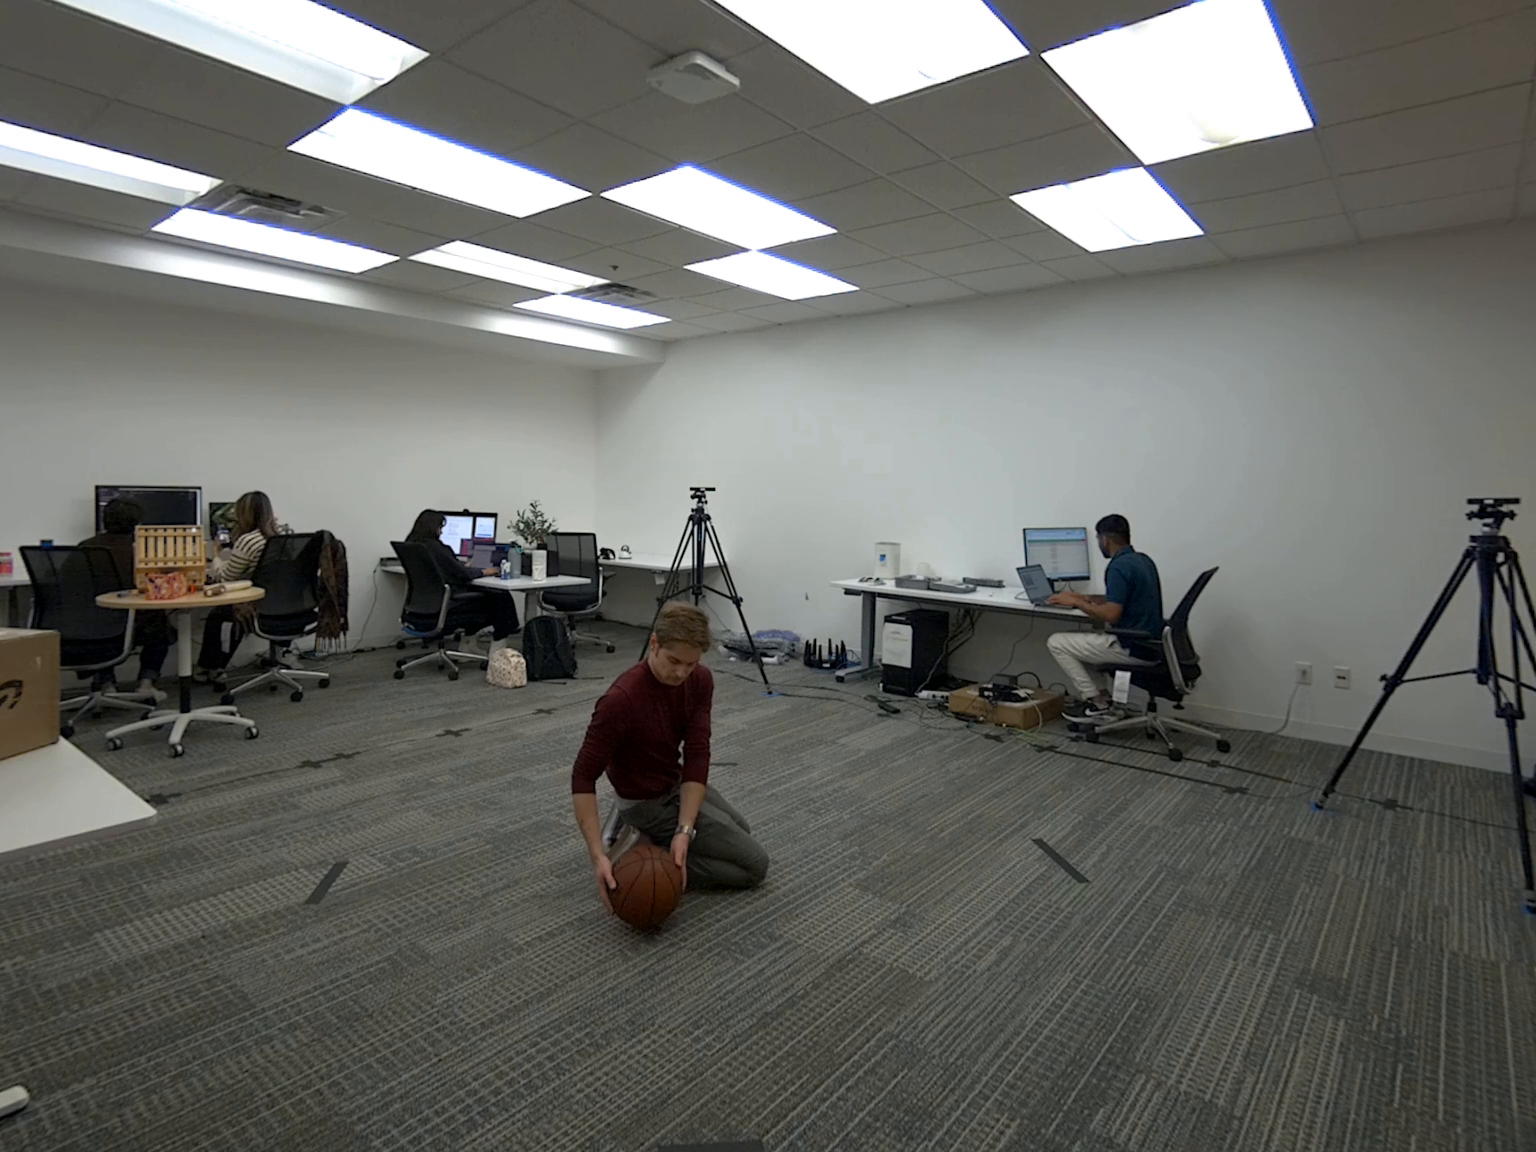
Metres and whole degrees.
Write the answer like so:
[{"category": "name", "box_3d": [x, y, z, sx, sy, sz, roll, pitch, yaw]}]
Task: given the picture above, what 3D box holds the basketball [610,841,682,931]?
[{"category": "basketball", "box_3d": [-0.381, 0.966, 2.682, 0.235, 0.235, 0.237, 1, 4, -2]}]
